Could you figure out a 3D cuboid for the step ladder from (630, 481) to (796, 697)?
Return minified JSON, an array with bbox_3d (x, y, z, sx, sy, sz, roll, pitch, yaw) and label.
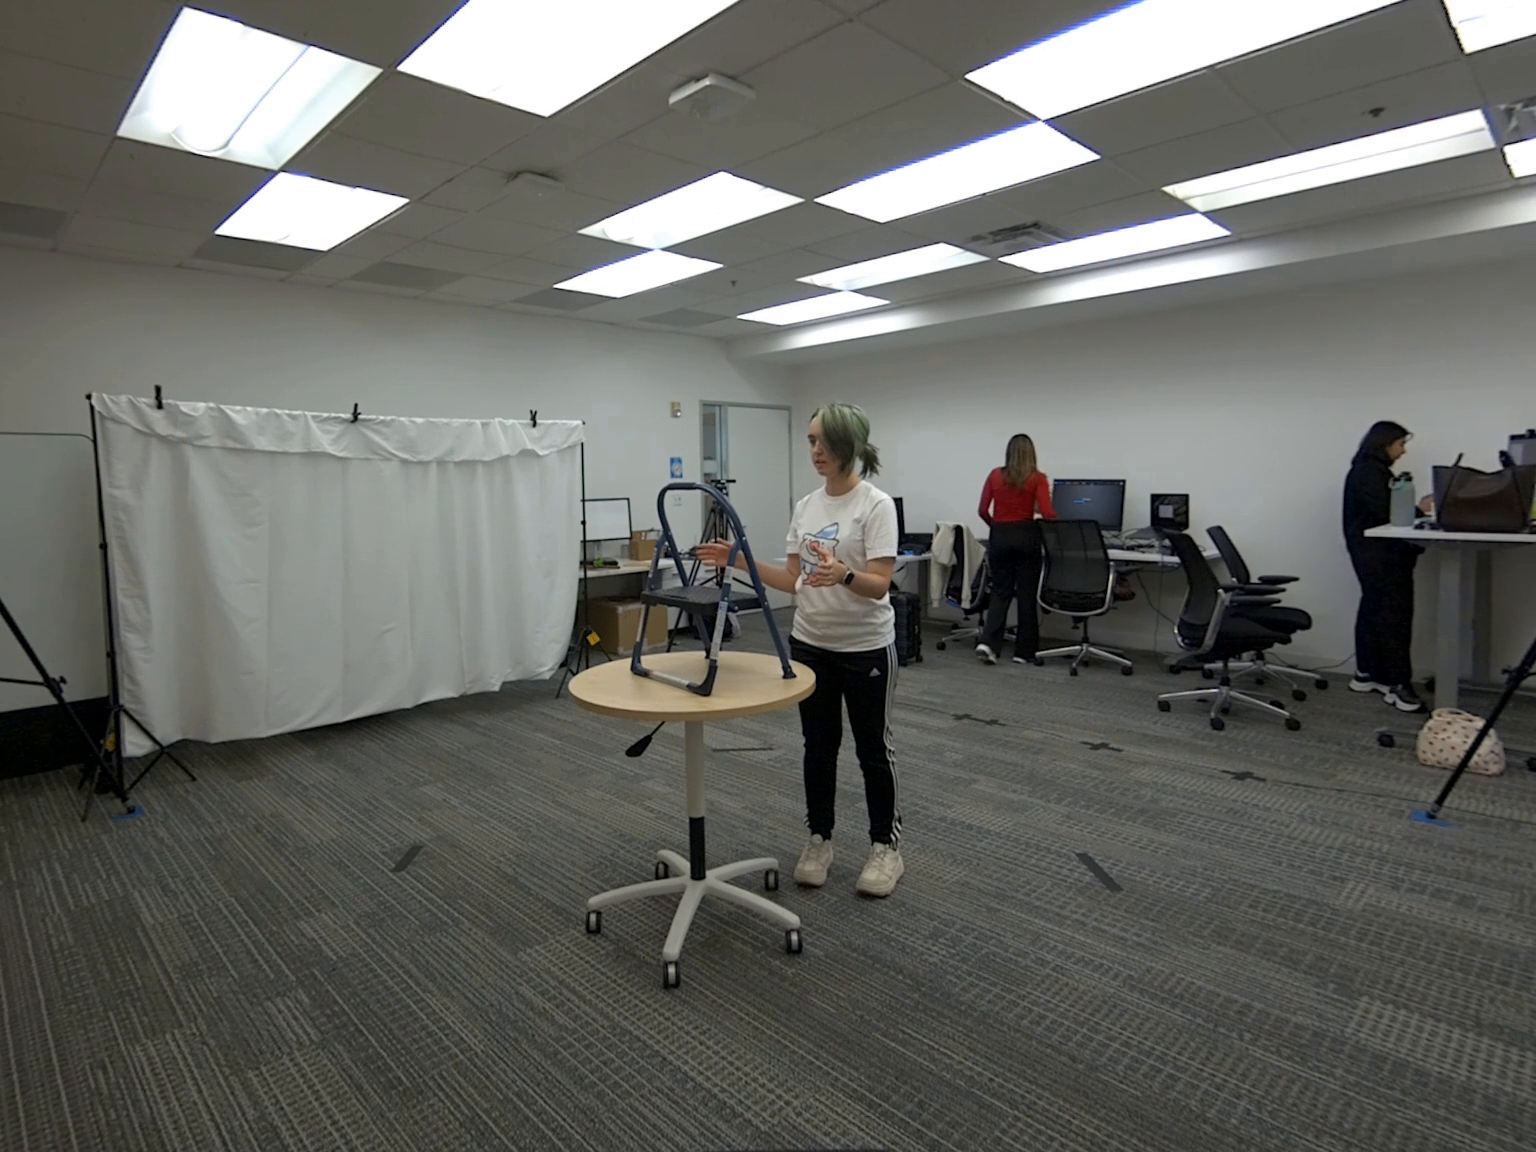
[{"bbox_3d":[-0.188,0.013,2.664,0.340,0.604,0.444,-5,5,-40],"label":"step ladder"}]
